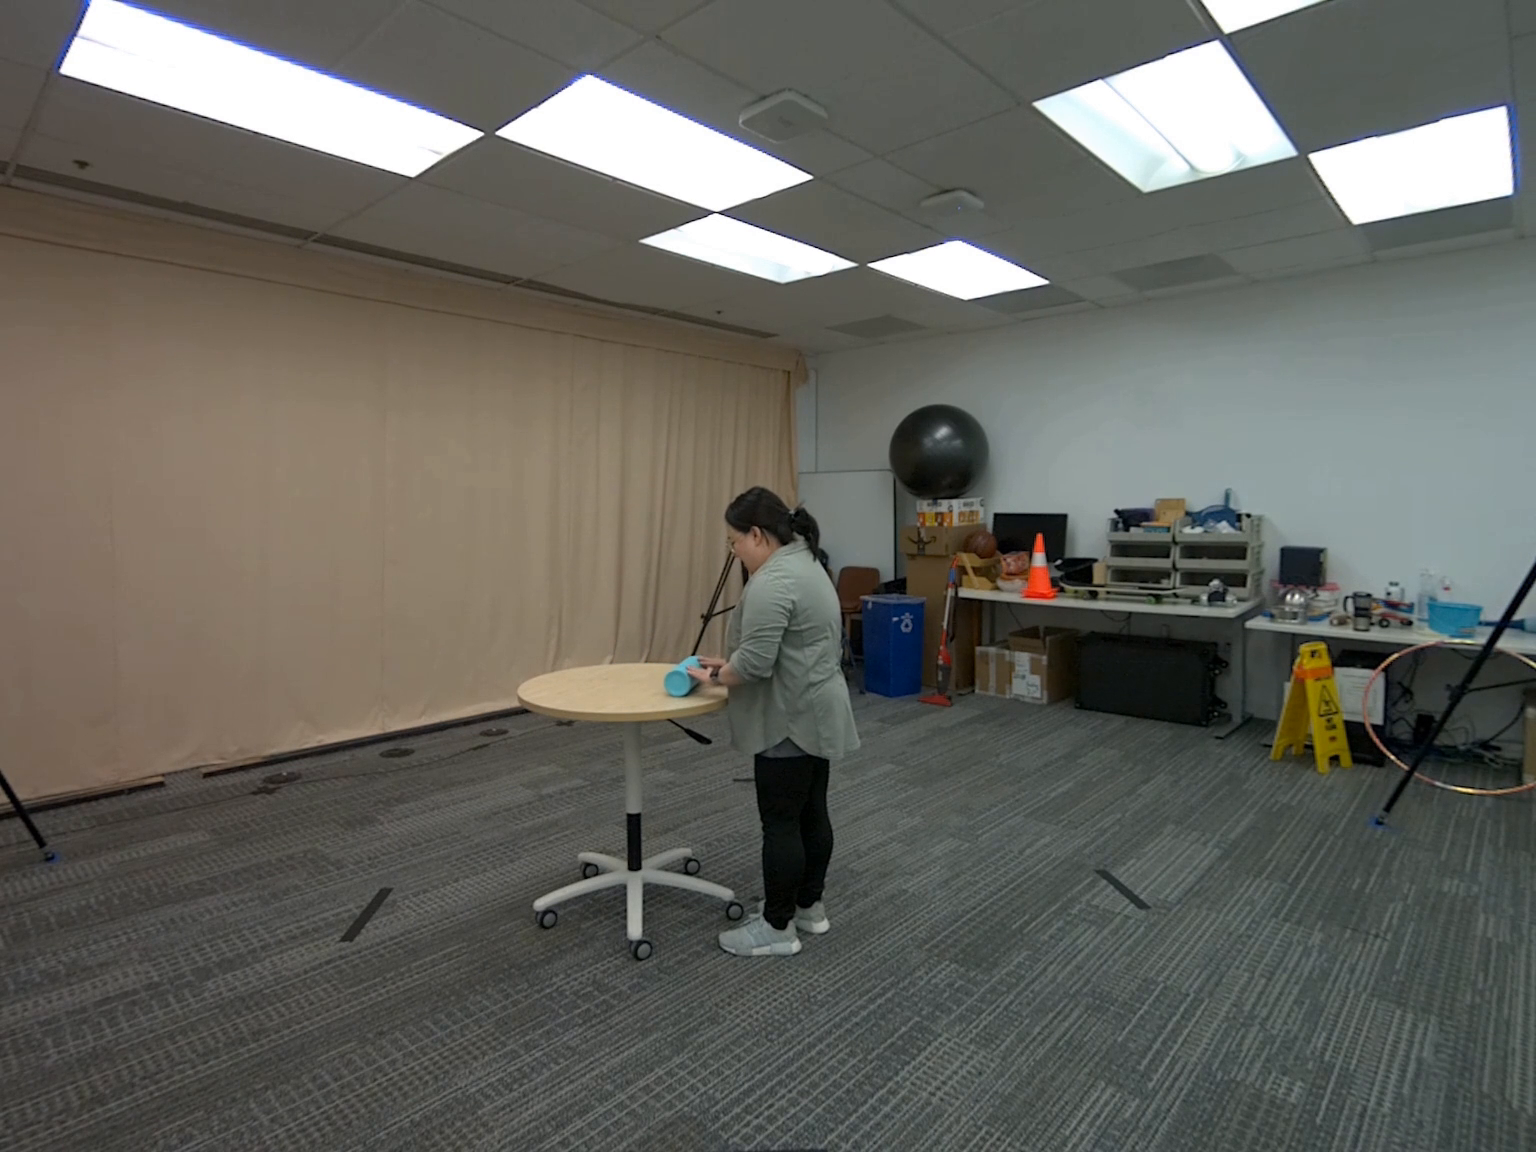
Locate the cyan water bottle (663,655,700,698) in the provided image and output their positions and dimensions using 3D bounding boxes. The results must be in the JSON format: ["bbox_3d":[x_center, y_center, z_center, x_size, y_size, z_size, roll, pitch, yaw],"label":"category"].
[{"bbox_3d":[-0.268,0.332,2.827,0.093,0.092,0.281,0,5,7],"label":"cyan water bottle"}]
